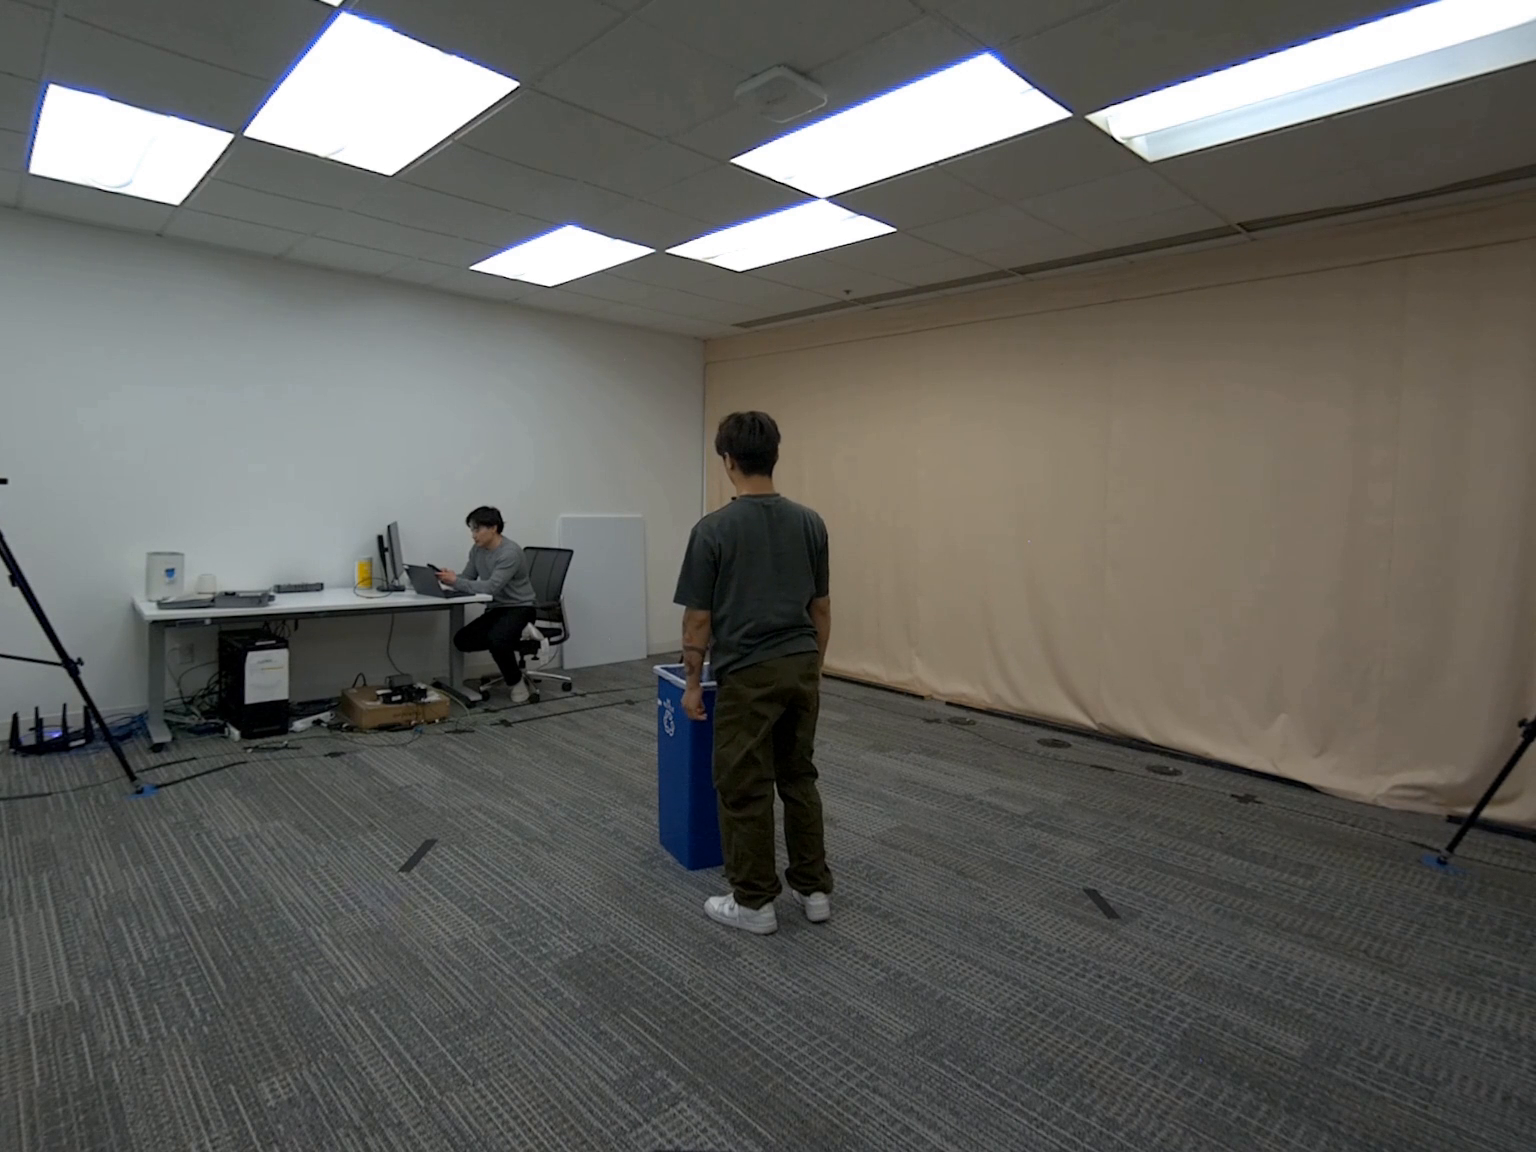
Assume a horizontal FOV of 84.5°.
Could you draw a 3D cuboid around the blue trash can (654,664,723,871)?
[{"bbox_3d":[-0.238,0.729,3.305,0.366,0.712,0.386,0,4,-30],"label":"blue trash can"}]
